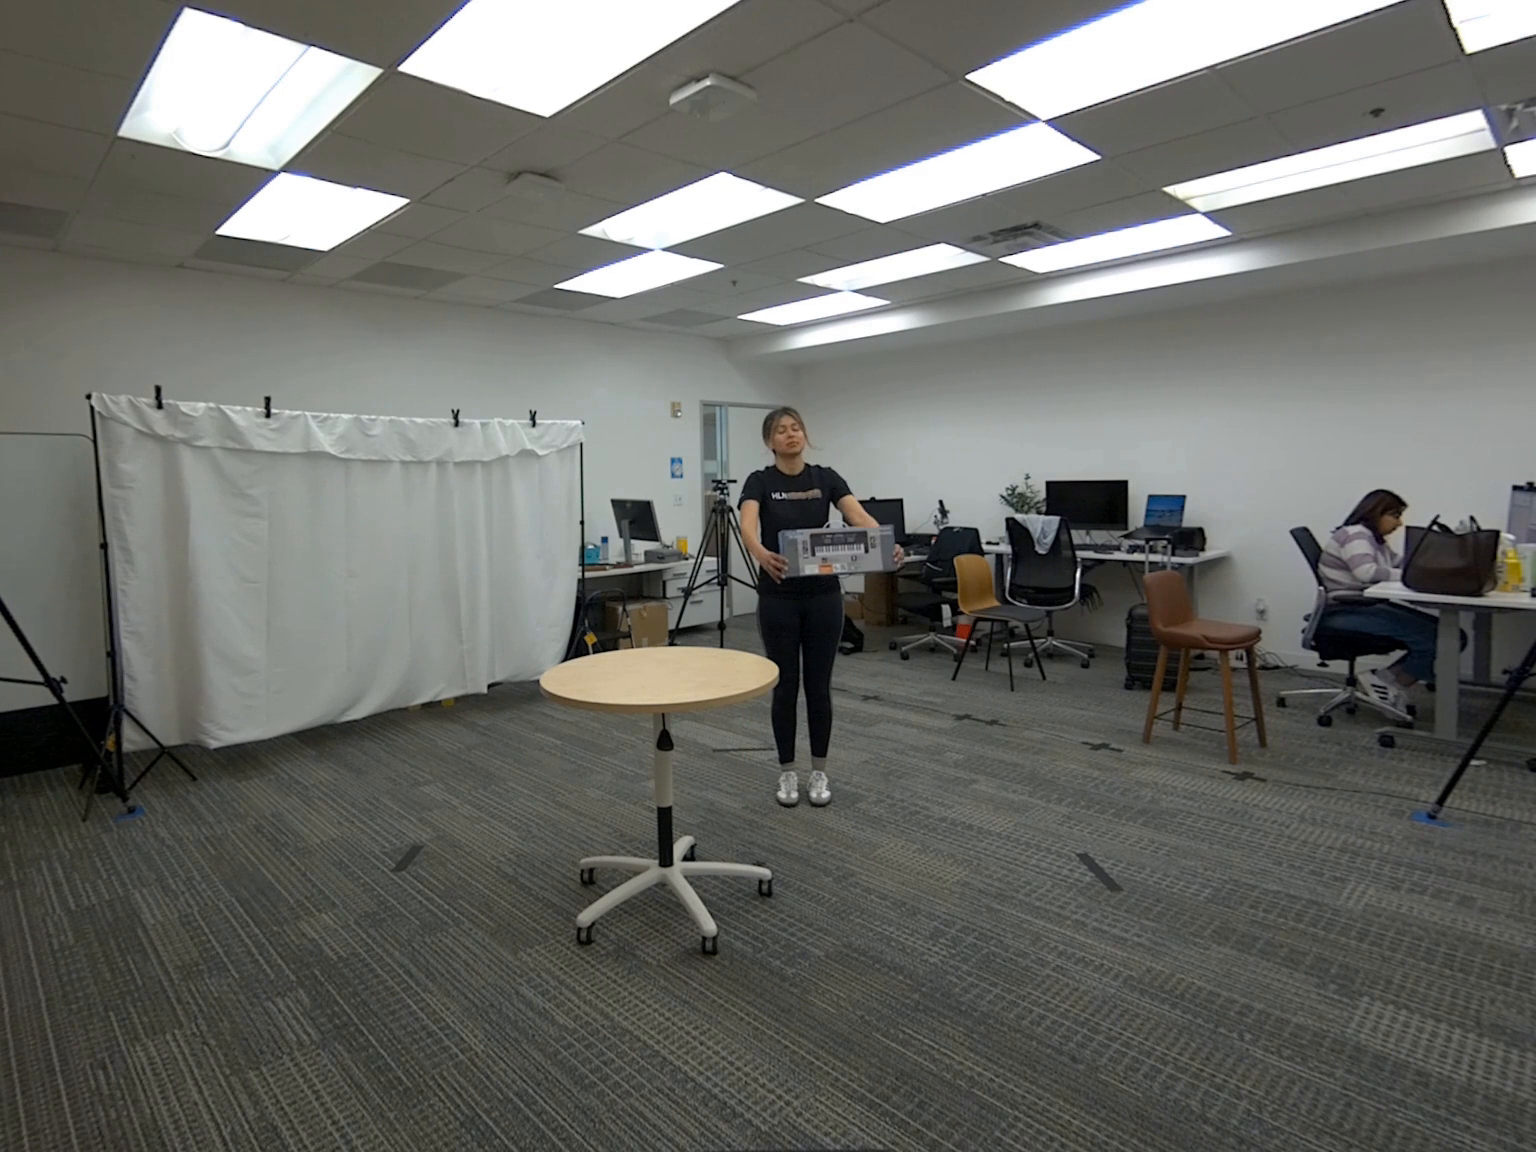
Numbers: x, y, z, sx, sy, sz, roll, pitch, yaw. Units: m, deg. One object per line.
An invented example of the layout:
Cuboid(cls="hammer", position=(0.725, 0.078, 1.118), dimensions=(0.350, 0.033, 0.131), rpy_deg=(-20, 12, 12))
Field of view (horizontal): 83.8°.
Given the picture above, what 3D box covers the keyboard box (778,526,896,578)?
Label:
Cuboid(cls="keyboard box", position=(0.263, -0.088, 3.214), dimensions=(0.432, 0.177, 0.059), rpy_deg=(-4, -4, -12))
